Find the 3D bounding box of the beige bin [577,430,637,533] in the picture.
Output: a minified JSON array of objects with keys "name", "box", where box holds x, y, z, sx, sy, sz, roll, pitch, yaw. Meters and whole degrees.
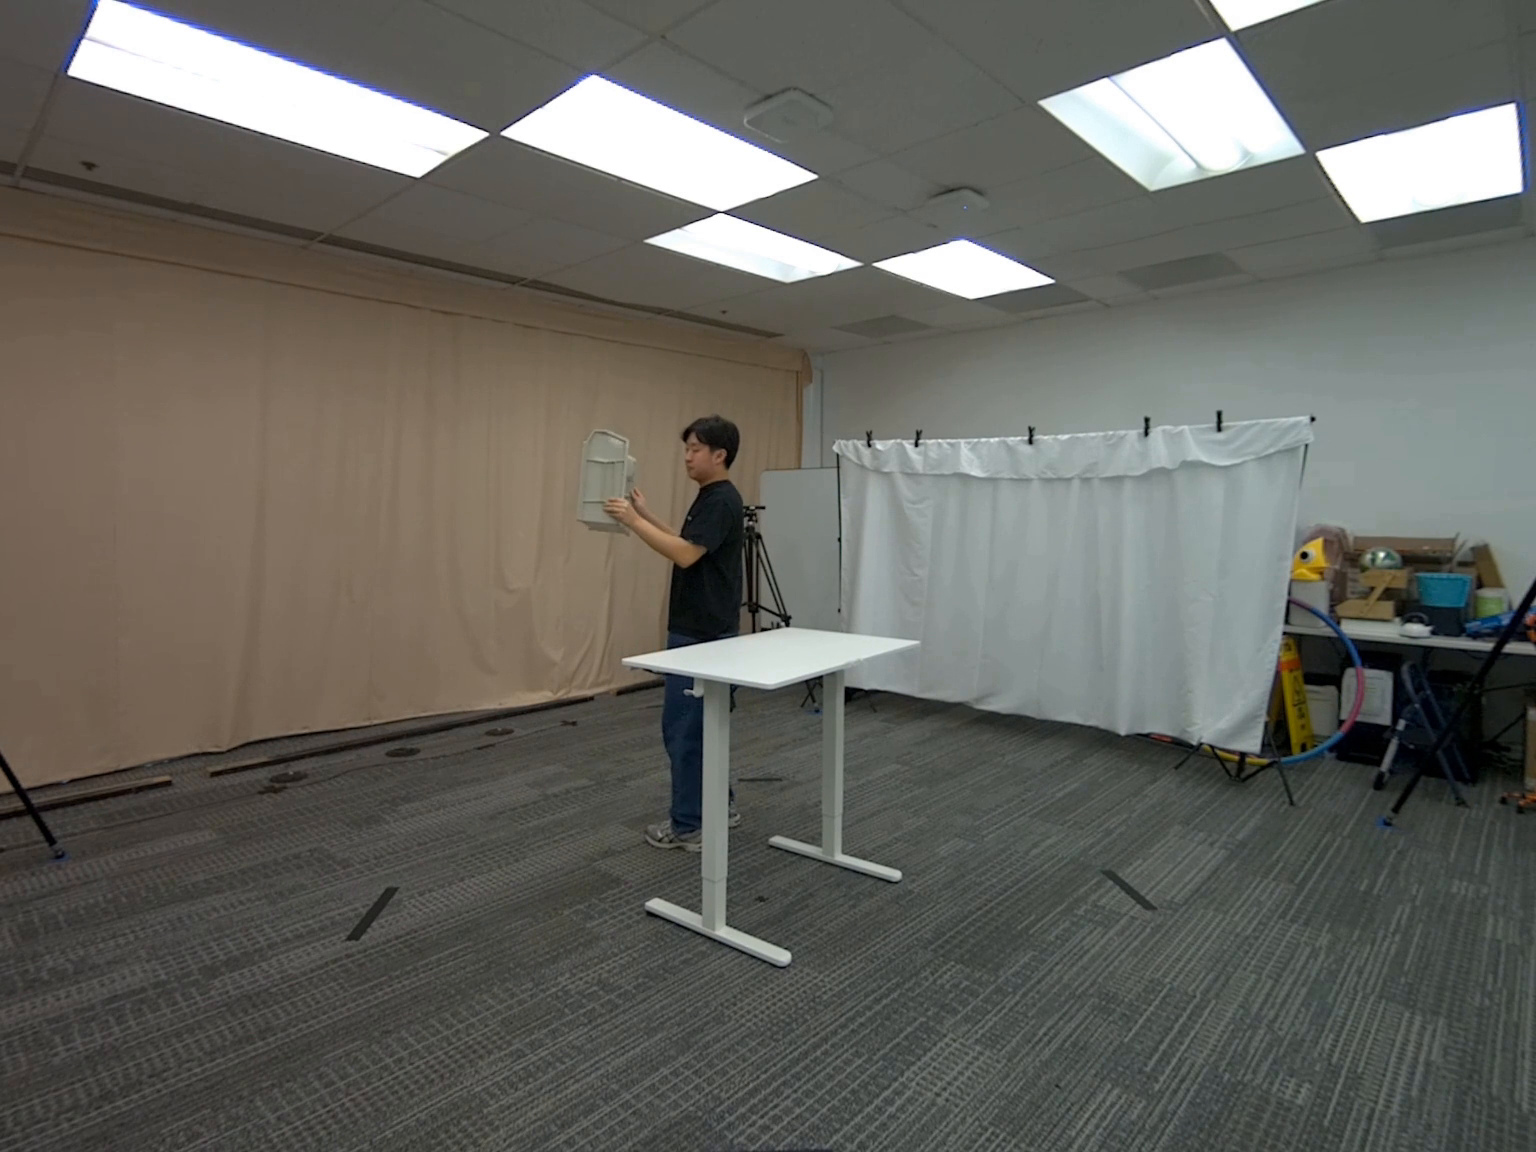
[{"name":"beige bin","box":[-0.646,-0.378,3.496,0.188,0.378,0.423,6,-2,-5]}]
